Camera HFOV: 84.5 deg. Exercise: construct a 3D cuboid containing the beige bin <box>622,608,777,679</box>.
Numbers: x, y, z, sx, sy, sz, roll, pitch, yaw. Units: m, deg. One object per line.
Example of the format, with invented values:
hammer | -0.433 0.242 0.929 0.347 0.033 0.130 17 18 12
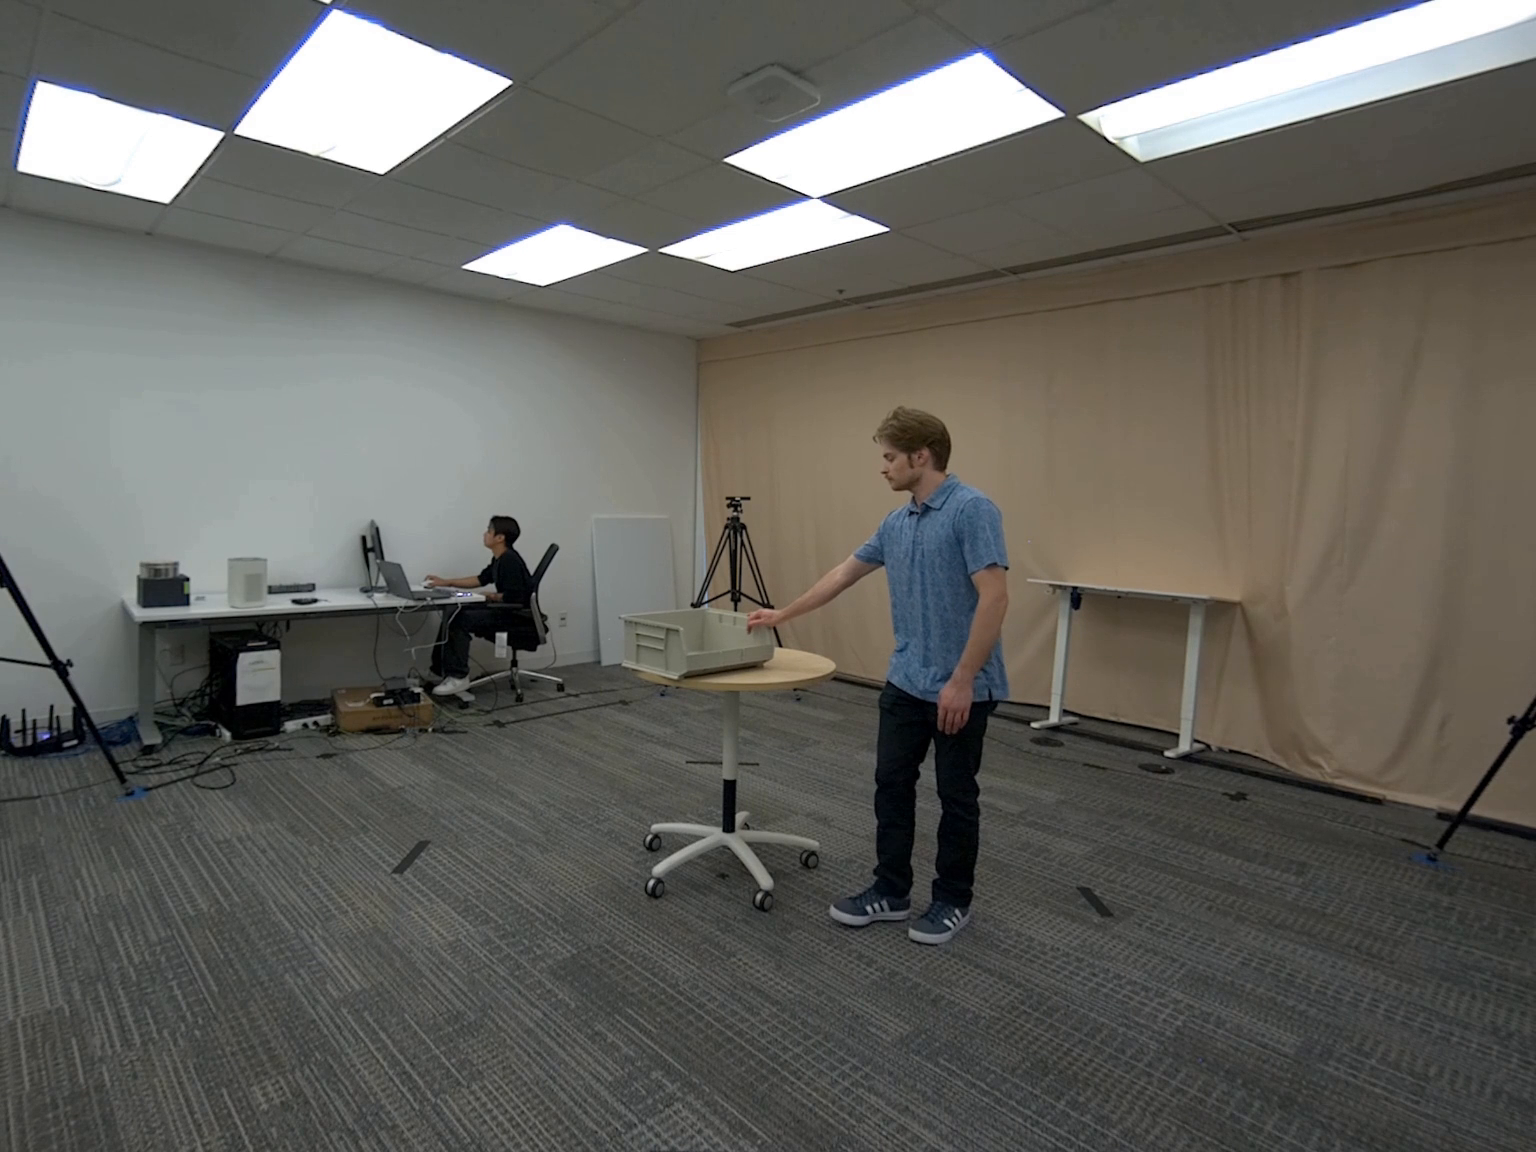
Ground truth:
beige bin | -0.262 0.239 3.018 0.413 0.188 0.387 -4 5 -44
